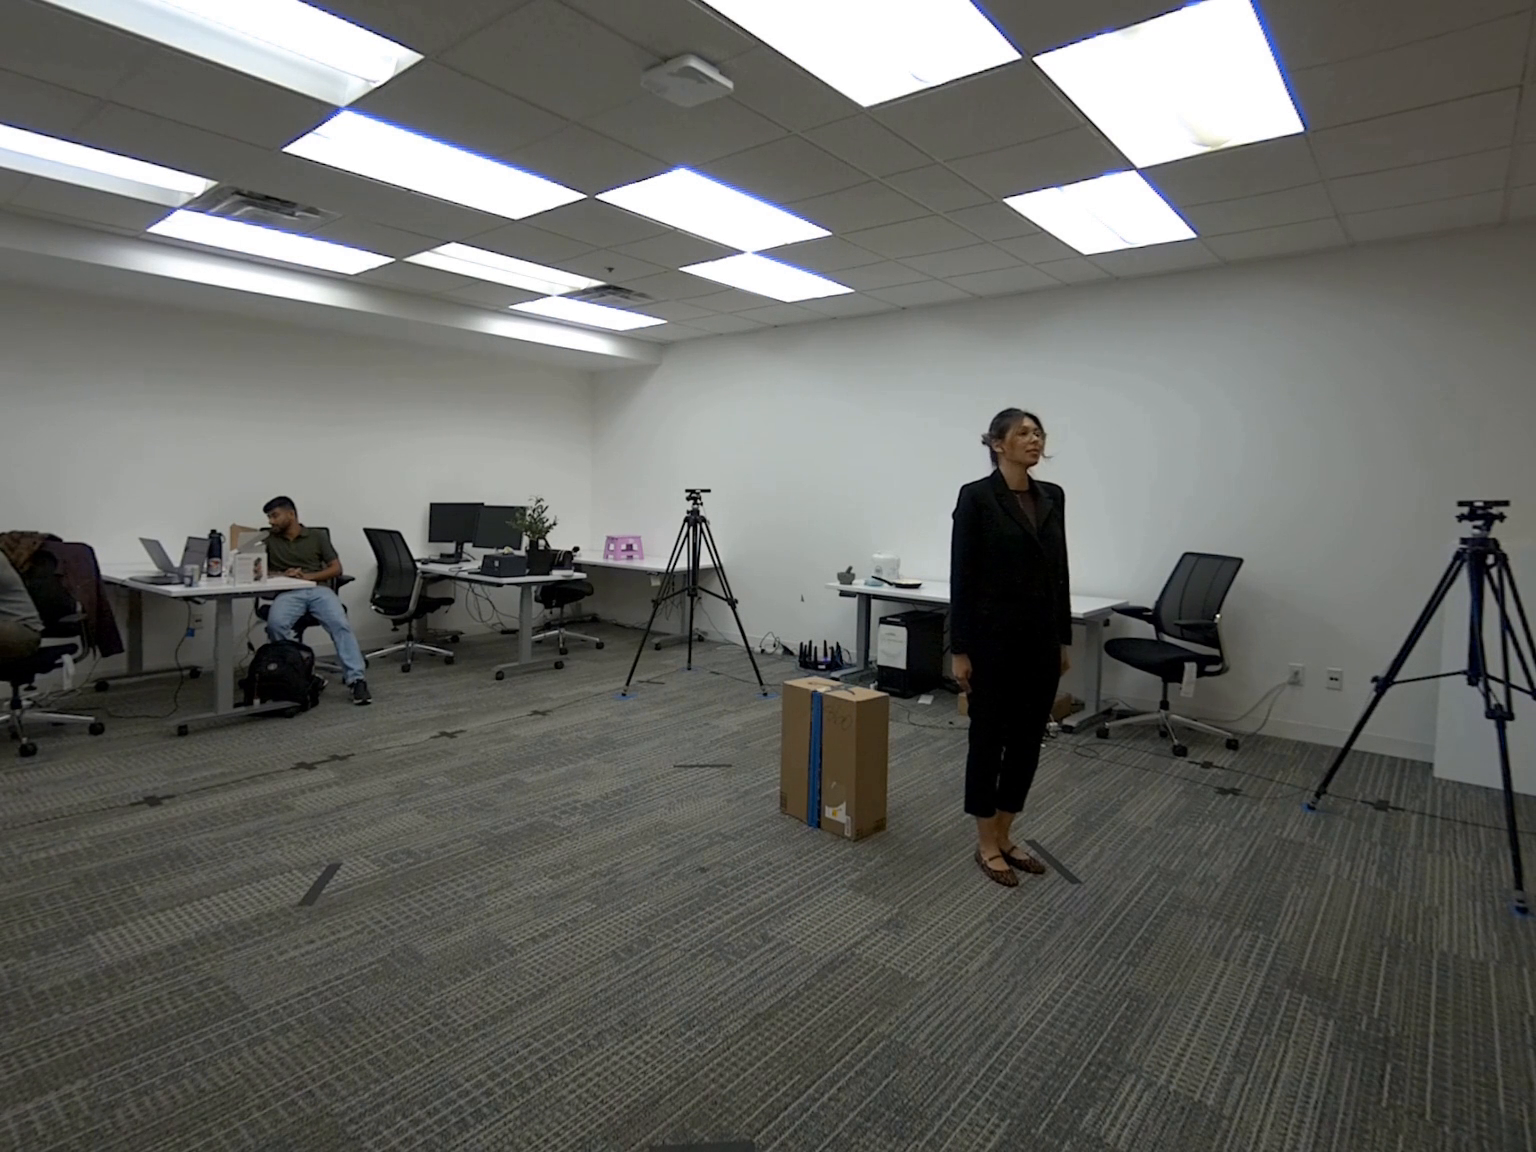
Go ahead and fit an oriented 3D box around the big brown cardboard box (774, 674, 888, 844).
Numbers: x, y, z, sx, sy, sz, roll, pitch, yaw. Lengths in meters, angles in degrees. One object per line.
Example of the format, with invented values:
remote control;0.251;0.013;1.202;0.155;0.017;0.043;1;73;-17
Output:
big brown cardboard box;0.261;0.757;3.599;0.226;0.588;0.431;-1;3;-42
